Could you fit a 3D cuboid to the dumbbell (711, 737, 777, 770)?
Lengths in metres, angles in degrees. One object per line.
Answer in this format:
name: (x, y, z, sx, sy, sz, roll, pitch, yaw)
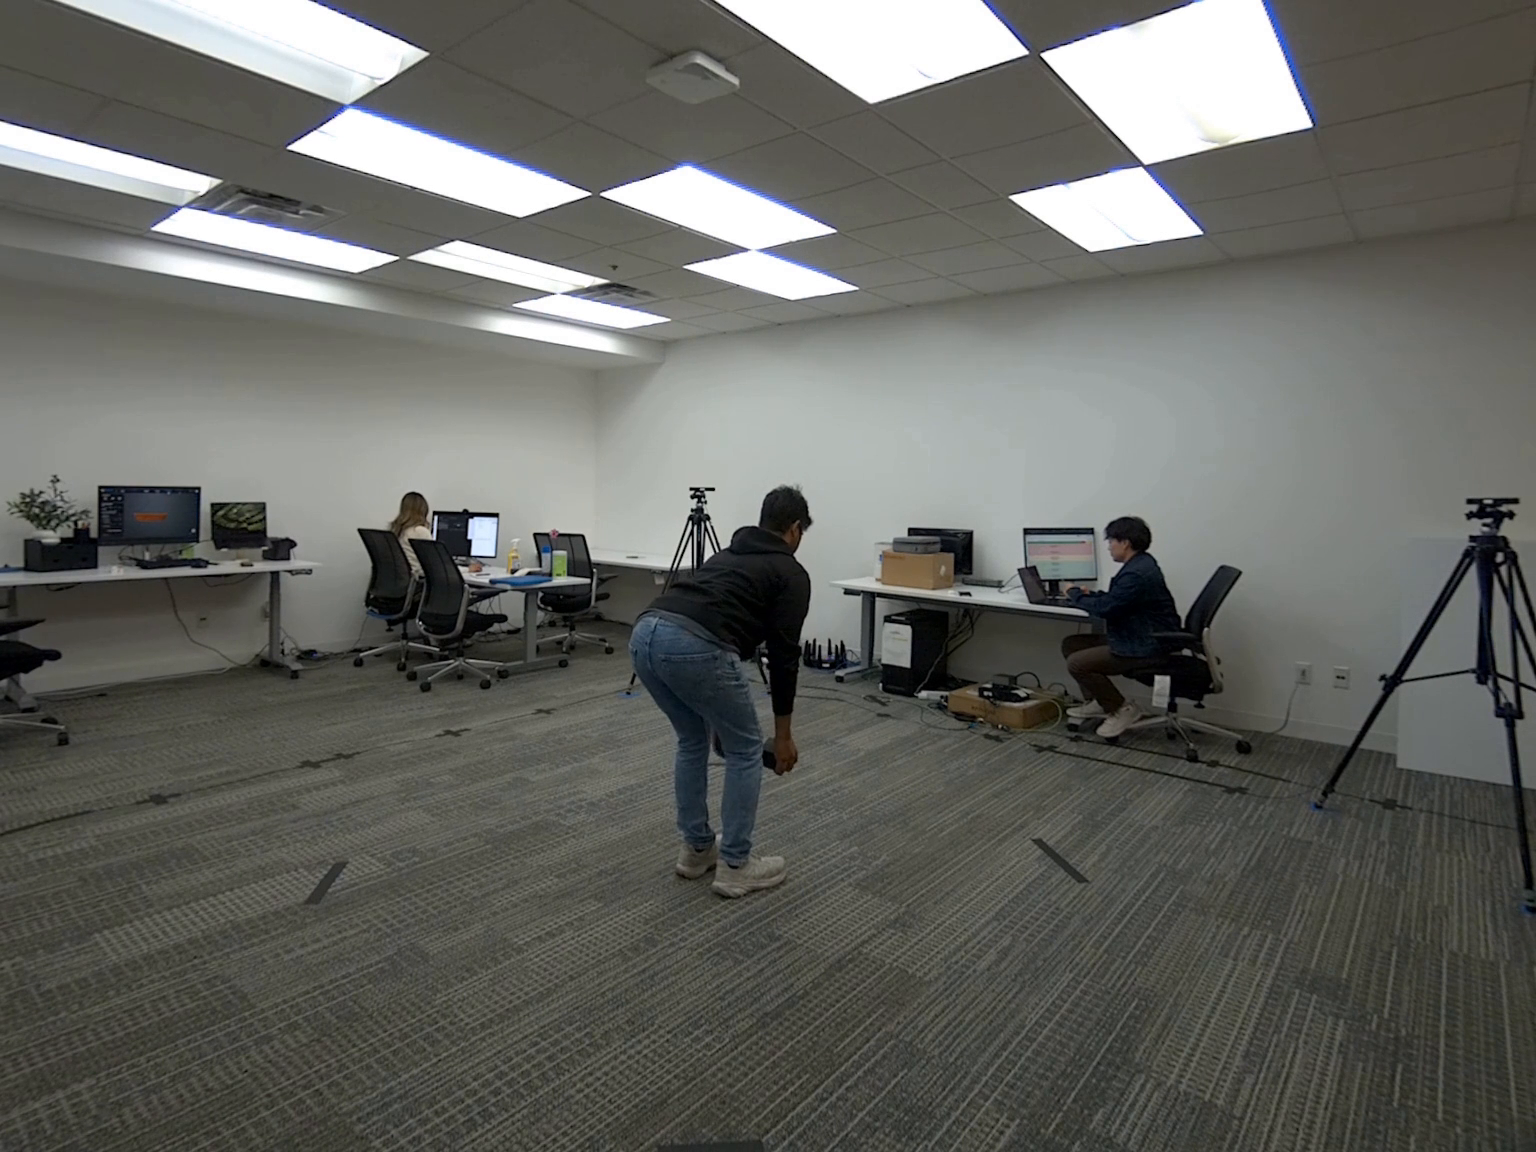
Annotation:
dumbbell: (-0.070, 0.640, 3.138, 0.304, 0.105, 0.122, 9, 39, 41)
